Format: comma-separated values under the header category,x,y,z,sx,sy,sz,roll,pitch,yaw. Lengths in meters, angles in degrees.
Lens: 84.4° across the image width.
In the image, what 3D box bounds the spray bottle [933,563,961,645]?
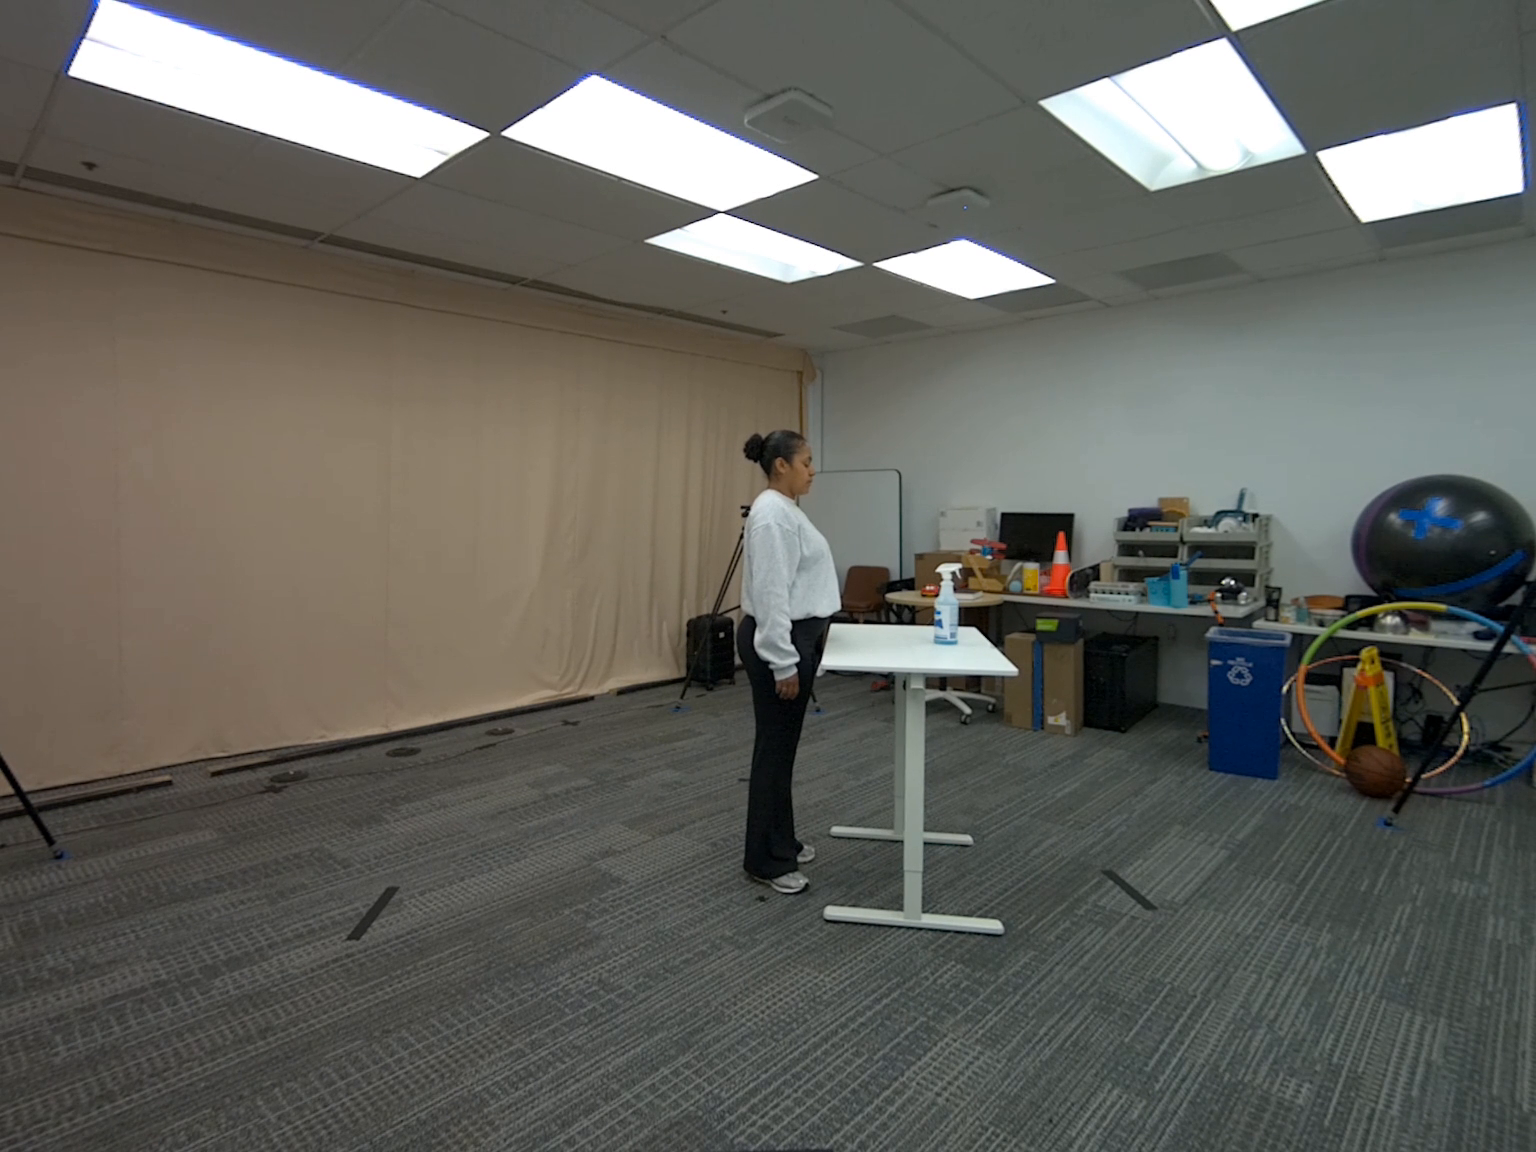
category,x,y,z,sx,sy,sz,roll,pitch,yaw
spray bottle,0.669,0.106,3.102,0.093,0.296,0.084,6,5,38
